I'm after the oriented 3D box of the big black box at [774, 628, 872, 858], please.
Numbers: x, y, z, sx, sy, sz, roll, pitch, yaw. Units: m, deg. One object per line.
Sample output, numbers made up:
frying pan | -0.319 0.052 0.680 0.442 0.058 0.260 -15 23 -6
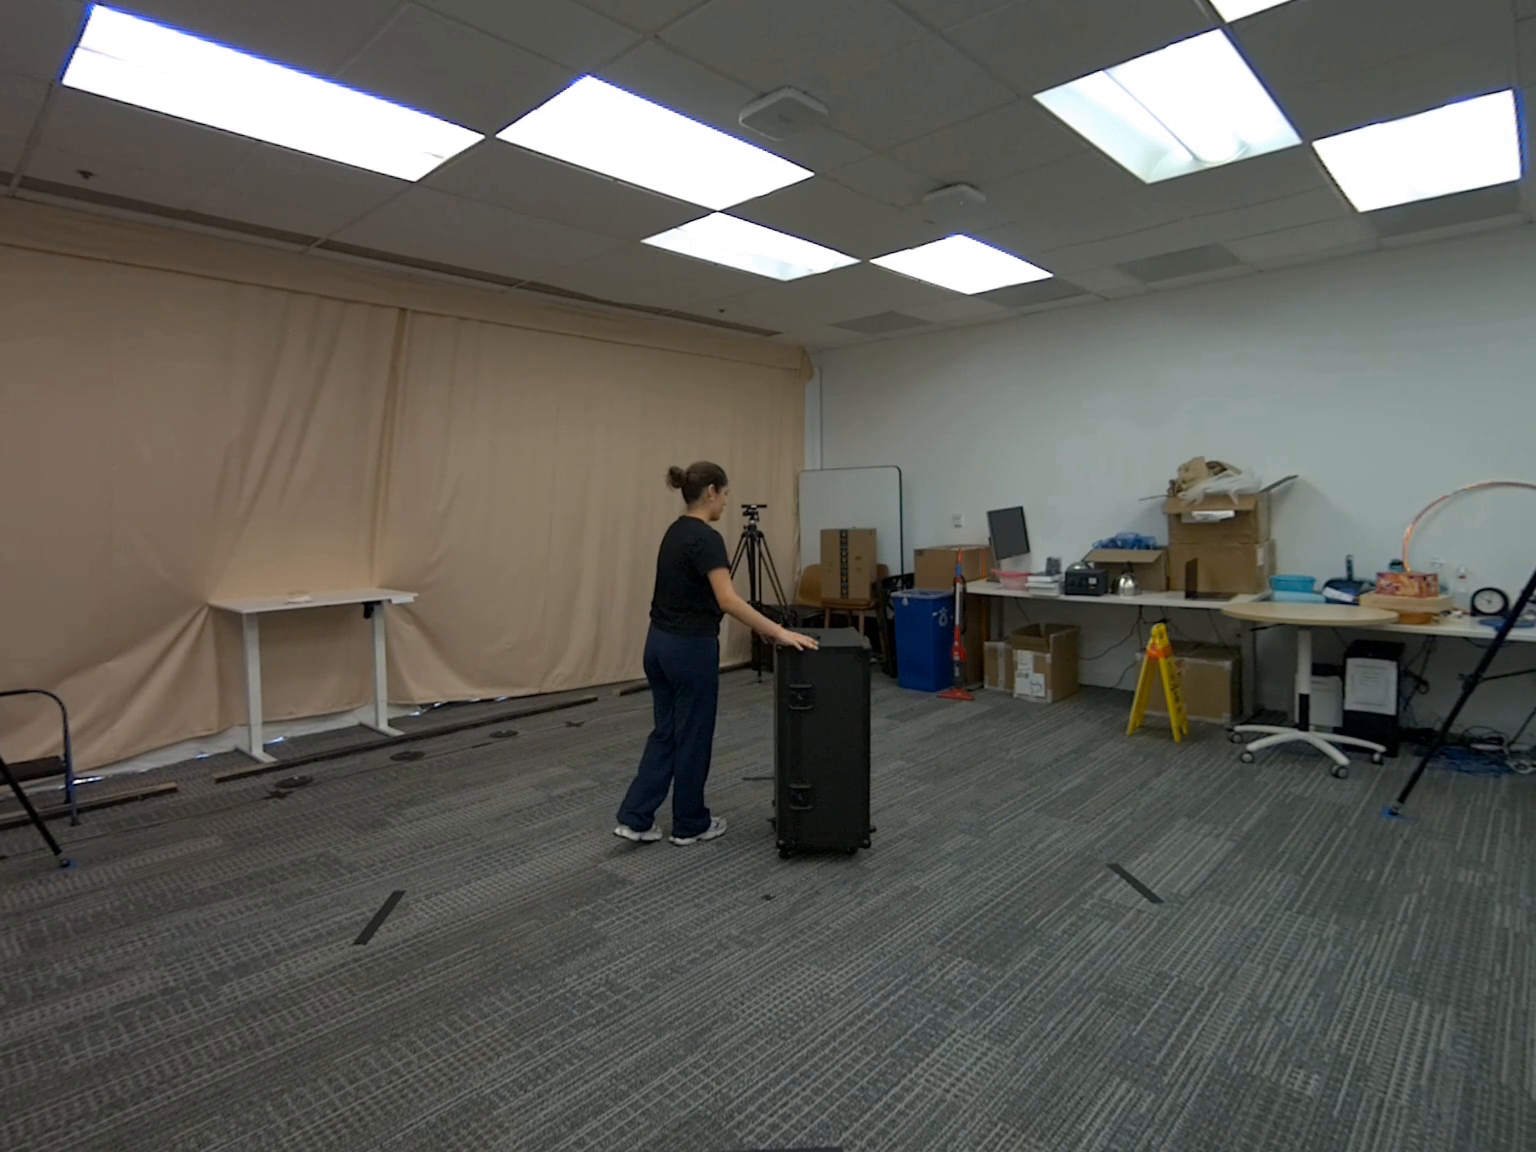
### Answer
big black box | 0.230 0.675 3.452 0.397 0.860 0.522 0 3 0
